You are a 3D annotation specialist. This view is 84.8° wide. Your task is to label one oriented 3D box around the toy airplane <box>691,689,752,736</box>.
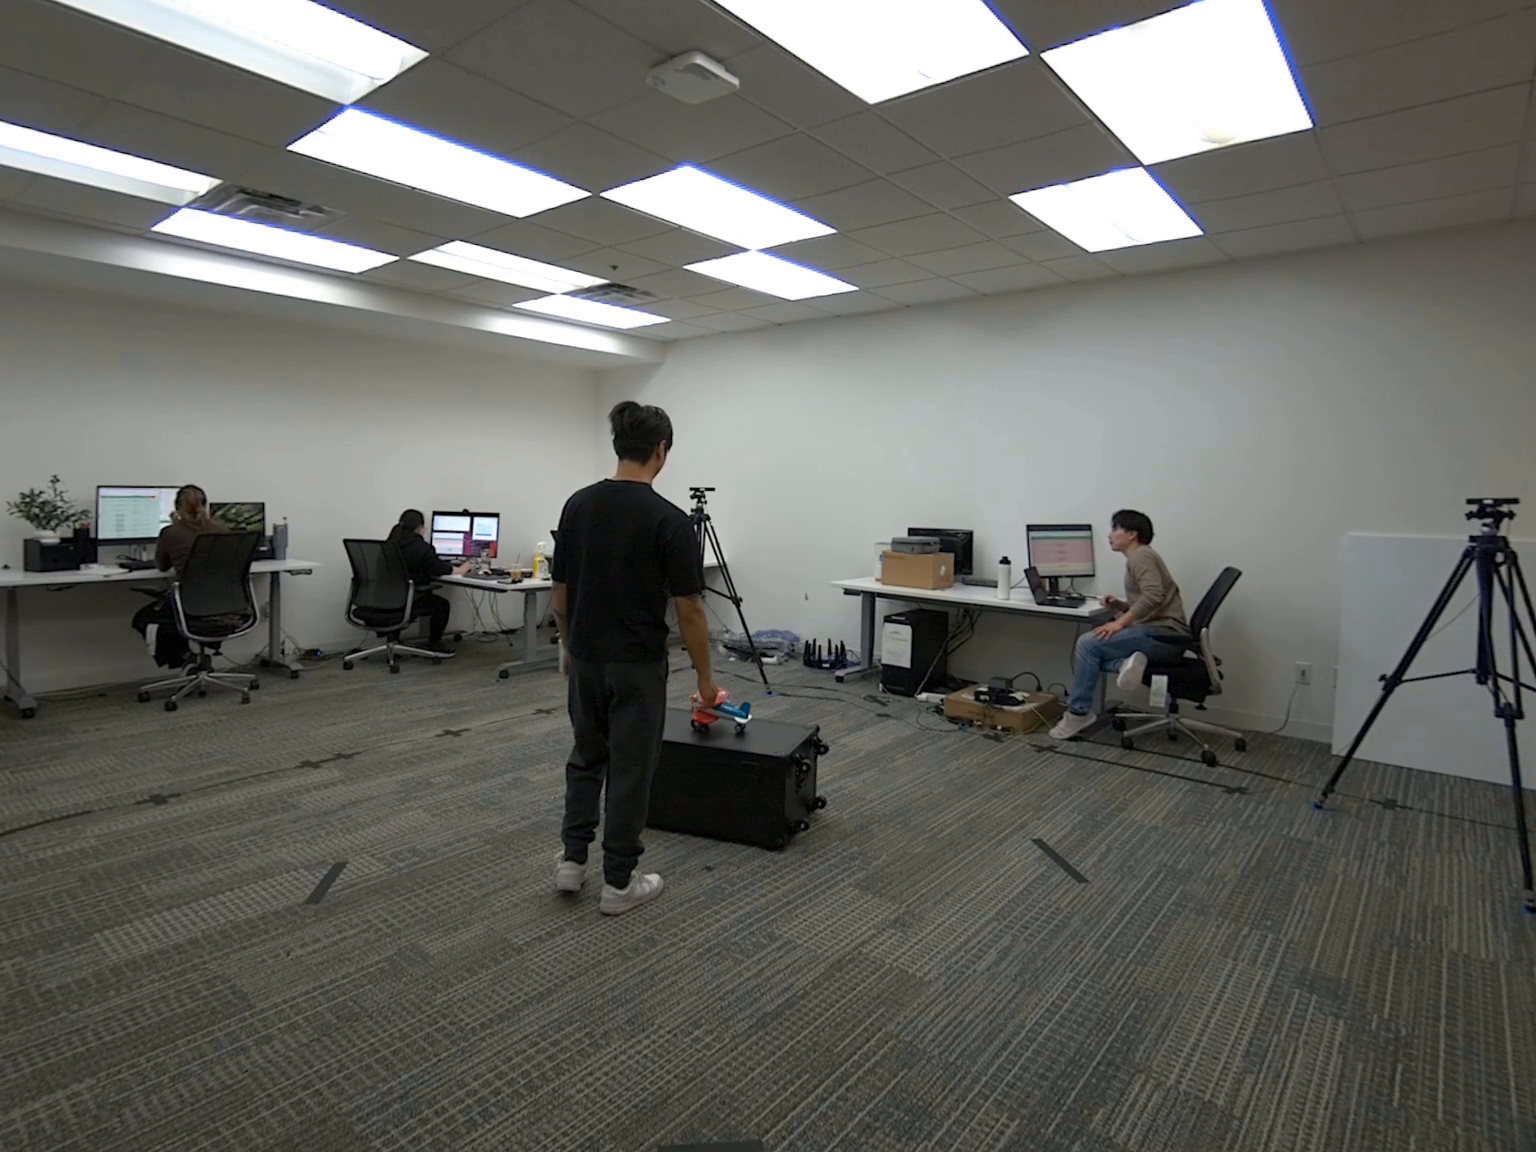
[{"bbox_3d":[-0.210,0.567,3.617,0.257,0.156,0.255,-1,5,-10],"label":"toy airplane"}]
